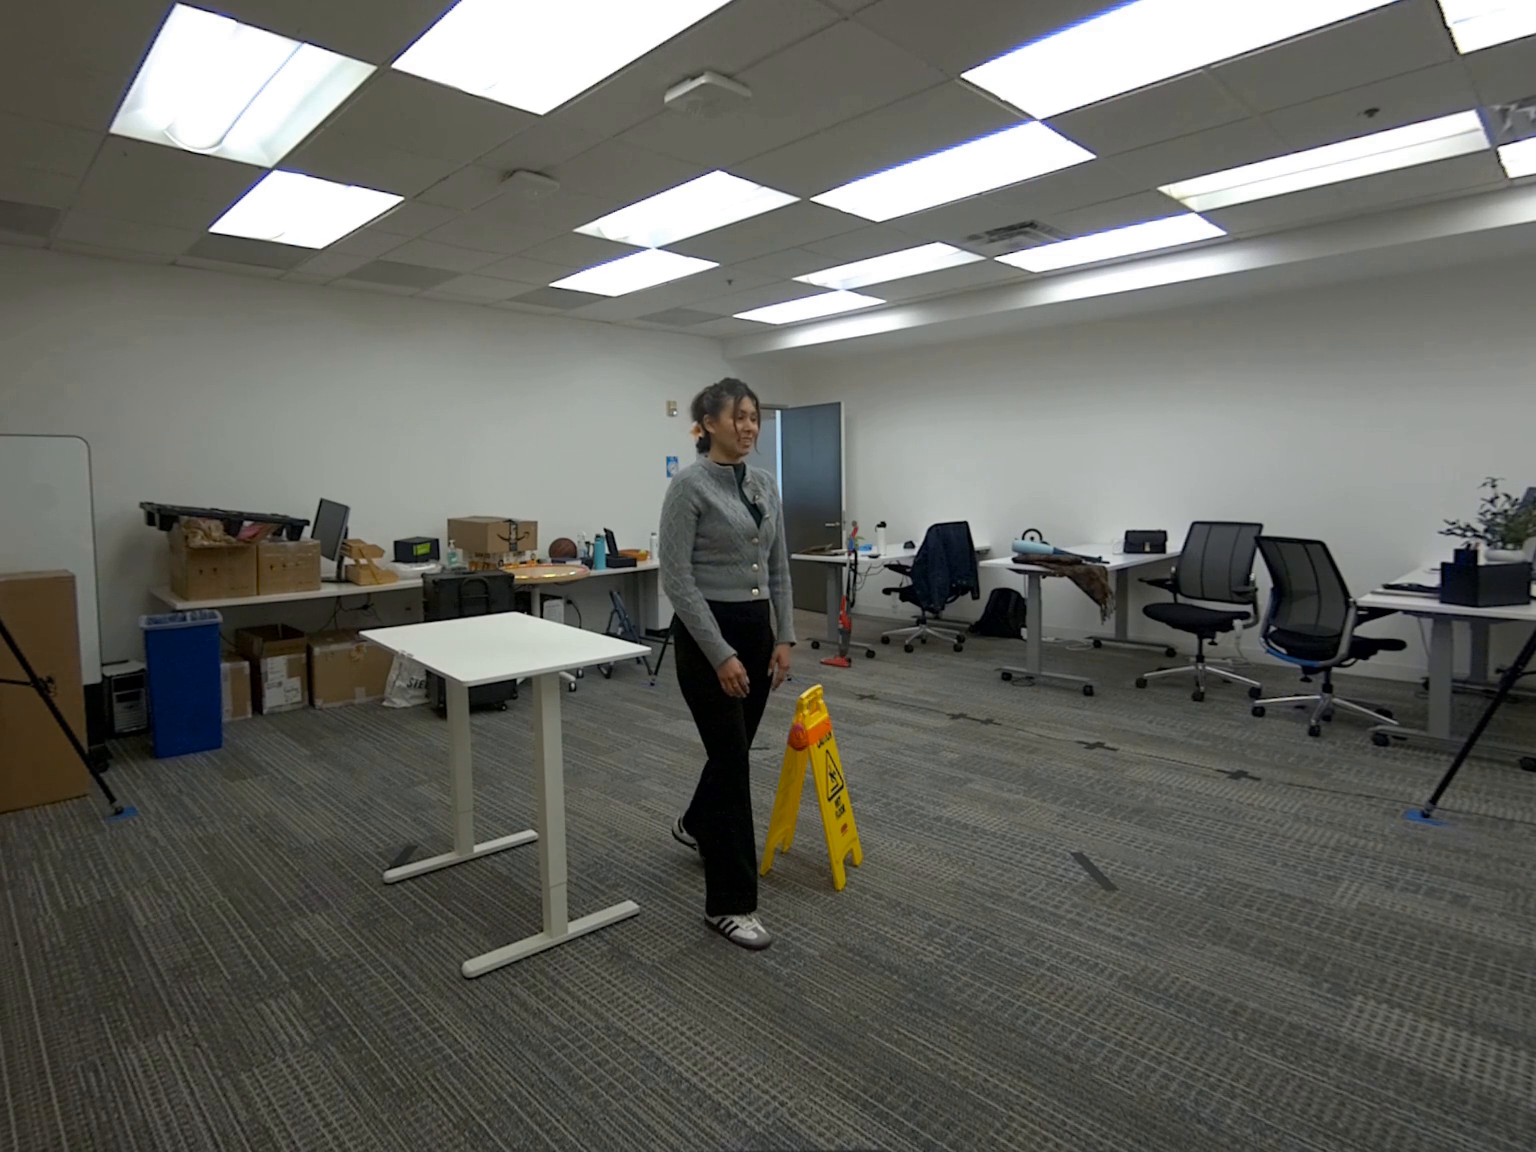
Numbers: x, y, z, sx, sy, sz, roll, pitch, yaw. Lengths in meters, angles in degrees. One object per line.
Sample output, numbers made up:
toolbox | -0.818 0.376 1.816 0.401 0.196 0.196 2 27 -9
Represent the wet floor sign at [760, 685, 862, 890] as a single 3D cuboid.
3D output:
wet floor sign | 0.157 0.720 3.046 0.296 0.643 0.277 2 6 25
